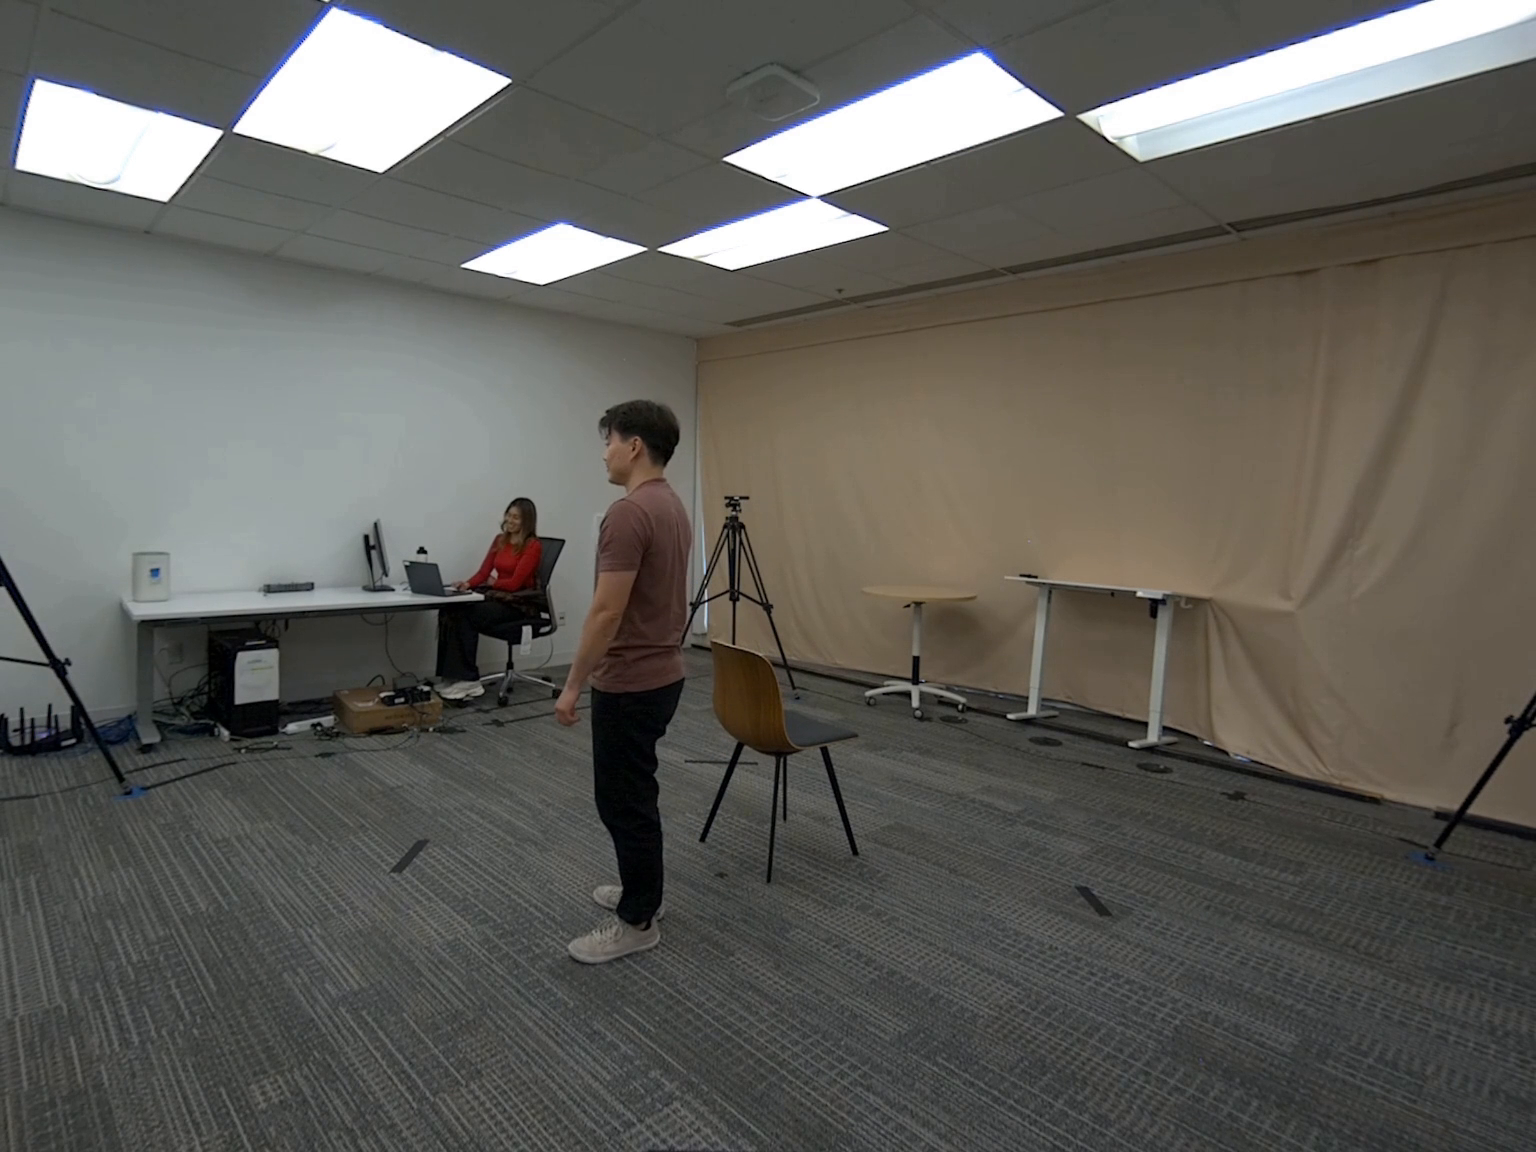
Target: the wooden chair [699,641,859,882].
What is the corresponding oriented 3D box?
[{"bbox_3d":[0.050,0.659,3.327,0.512,0.874,0.490,-6,7,-37],"label":"wooden chair"}]
